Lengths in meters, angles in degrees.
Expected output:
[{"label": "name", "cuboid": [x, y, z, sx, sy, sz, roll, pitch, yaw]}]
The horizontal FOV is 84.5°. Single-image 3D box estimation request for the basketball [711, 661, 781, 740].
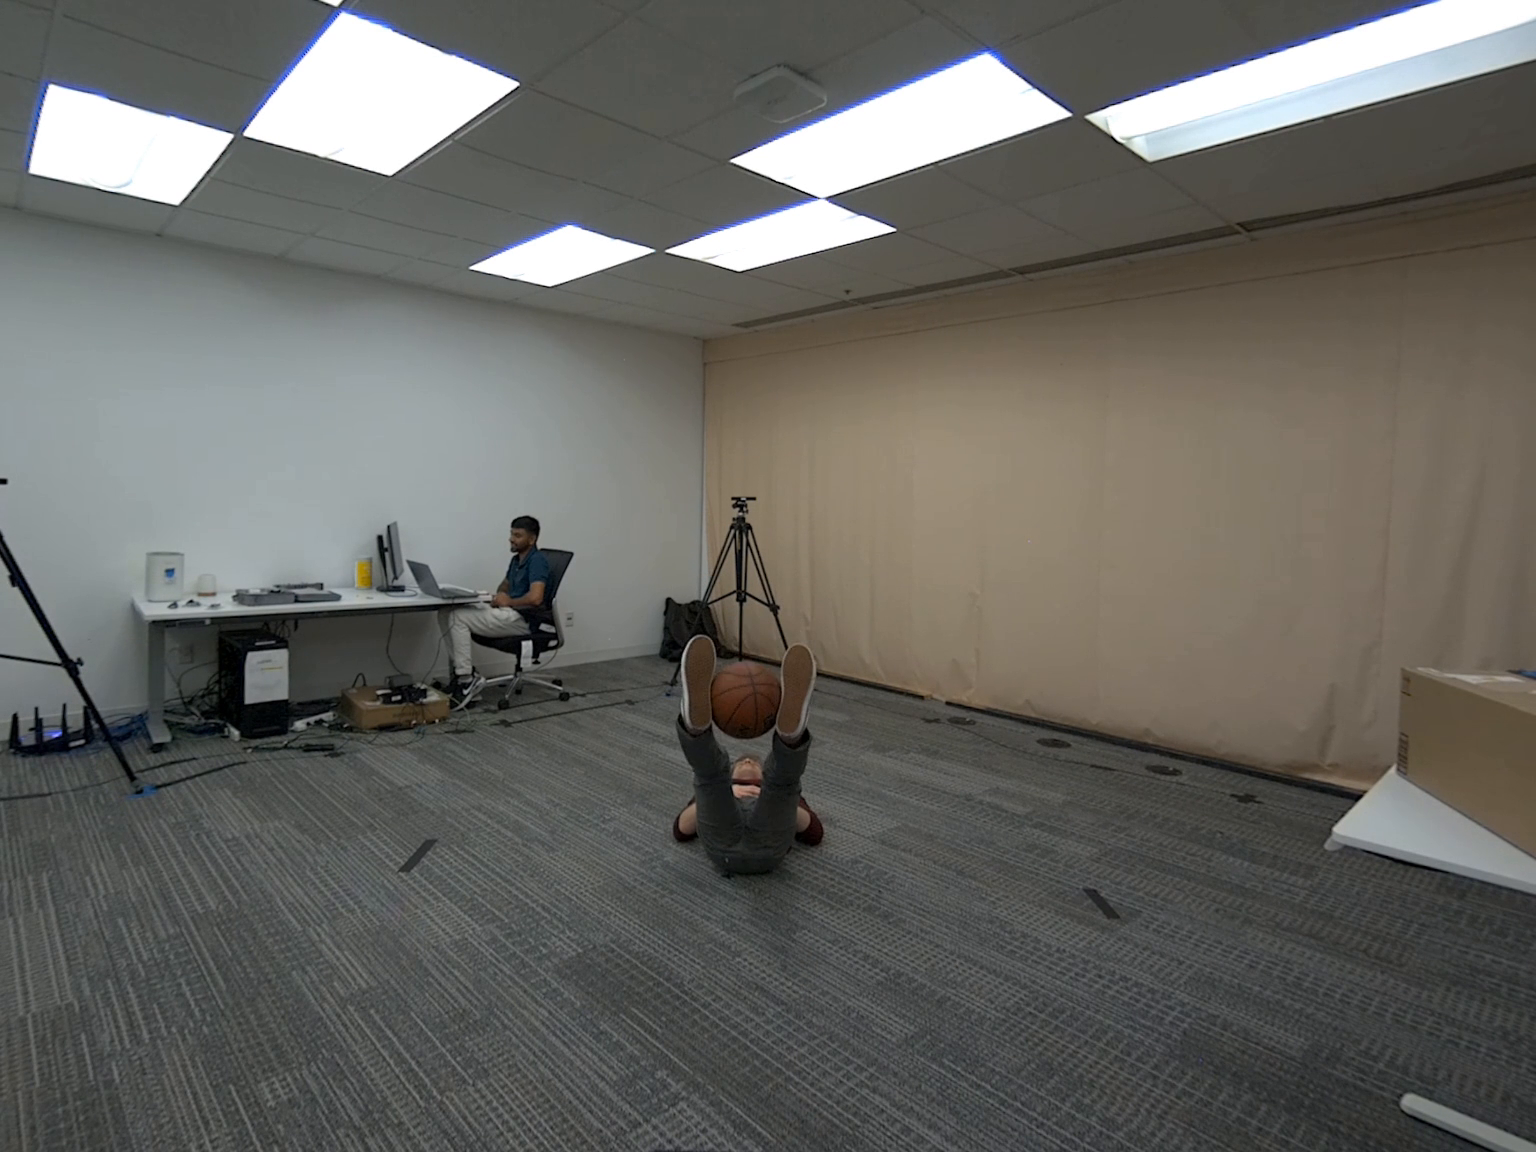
[{"label": "basketball", "cuboid": [-0.075, 0.390, 2.616, 0.236, 0.234, 0.237, 0, 7, -1]}]
